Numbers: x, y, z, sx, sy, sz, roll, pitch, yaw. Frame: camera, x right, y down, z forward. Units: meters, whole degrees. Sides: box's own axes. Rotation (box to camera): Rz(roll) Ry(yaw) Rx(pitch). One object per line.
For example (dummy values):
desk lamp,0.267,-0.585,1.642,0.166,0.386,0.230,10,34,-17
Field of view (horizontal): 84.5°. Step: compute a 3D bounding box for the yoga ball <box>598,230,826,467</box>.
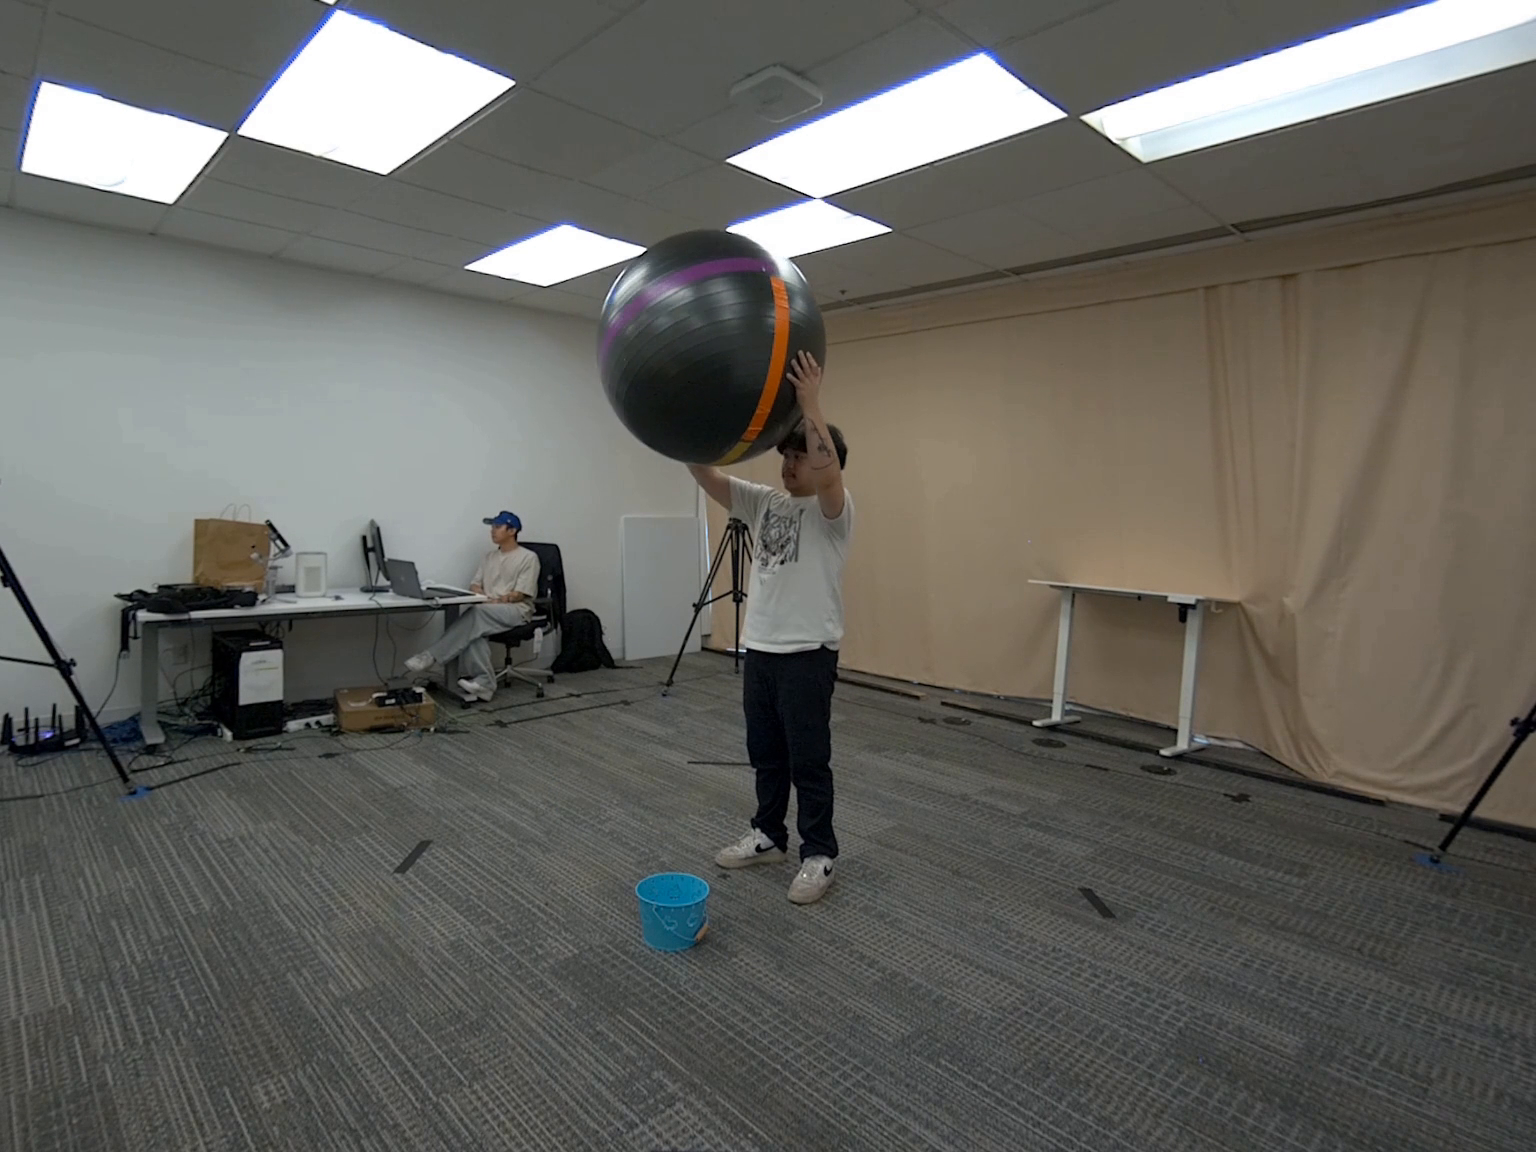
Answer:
yoga ball,-0.193,-0.733,2.780,0.757,0.756,0.760,1,4,-1
